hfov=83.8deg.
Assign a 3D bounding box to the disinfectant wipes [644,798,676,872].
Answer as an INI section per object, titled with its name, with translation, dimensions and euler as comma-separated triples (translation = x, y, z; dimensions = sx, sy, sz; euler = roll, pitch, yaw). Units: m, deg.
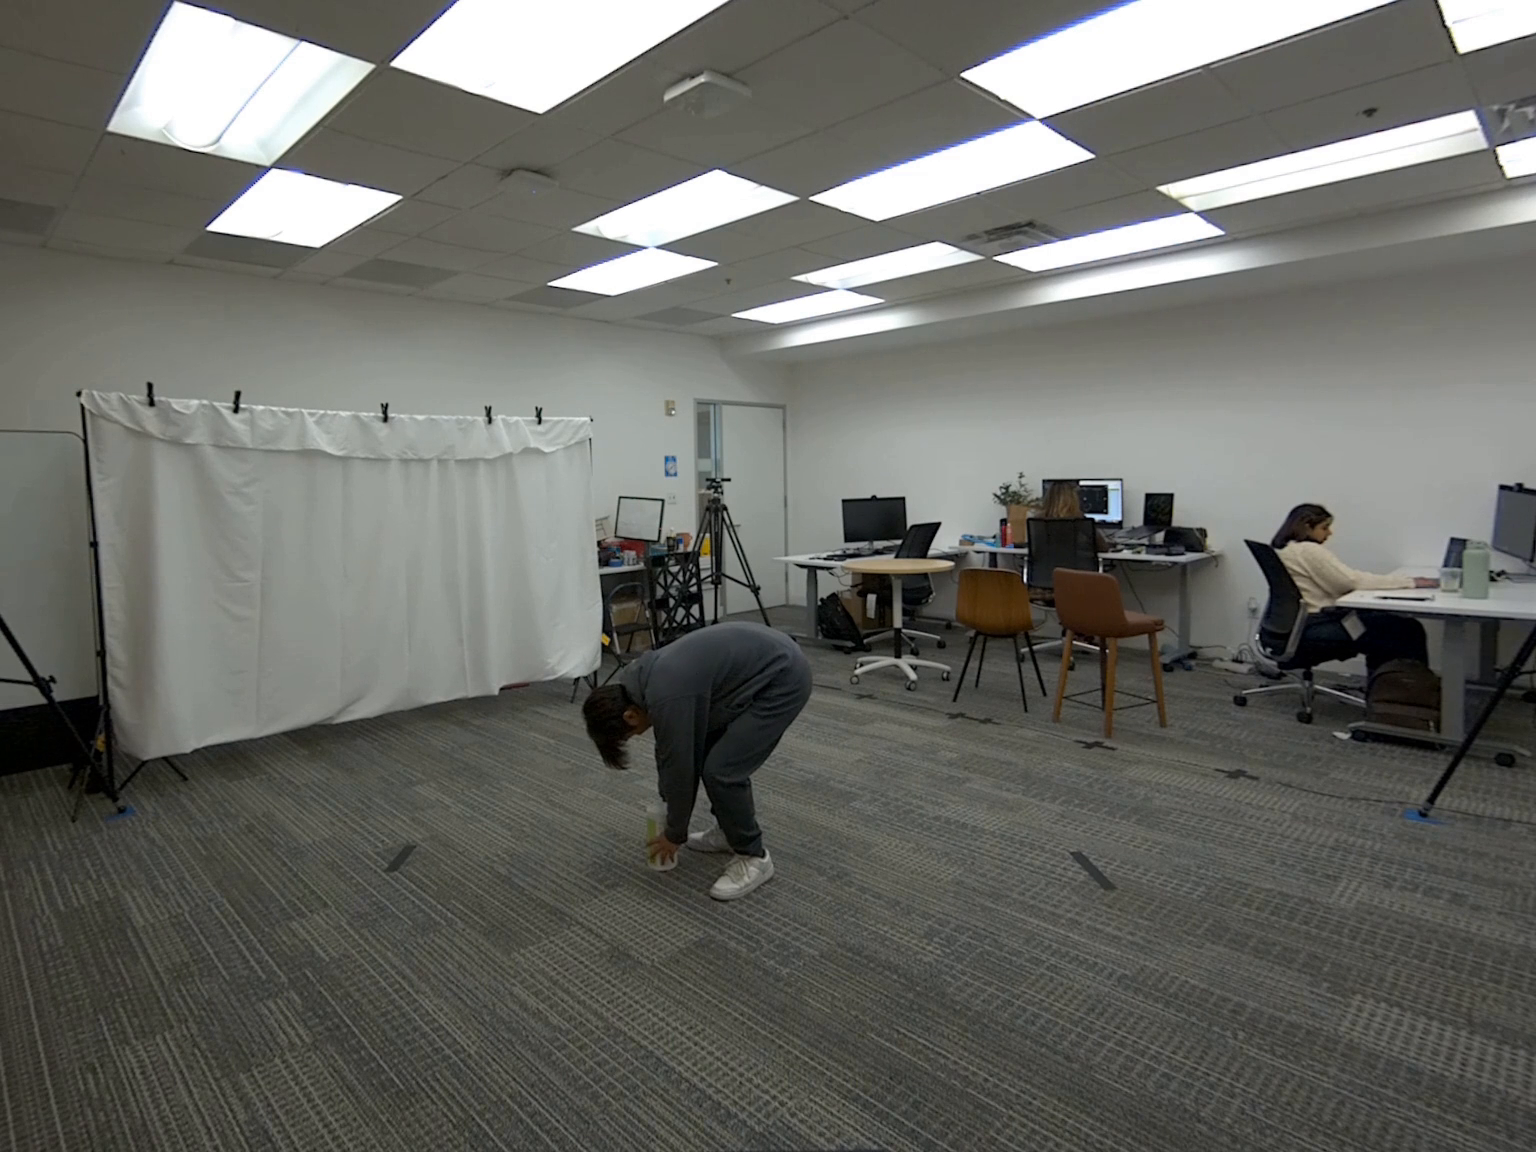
[disinfectant wipes]
translation = -0.387, 0.949, 3.099
dimensions = 0.118, 0.217, 0.118
euler = -3, 4, -1
